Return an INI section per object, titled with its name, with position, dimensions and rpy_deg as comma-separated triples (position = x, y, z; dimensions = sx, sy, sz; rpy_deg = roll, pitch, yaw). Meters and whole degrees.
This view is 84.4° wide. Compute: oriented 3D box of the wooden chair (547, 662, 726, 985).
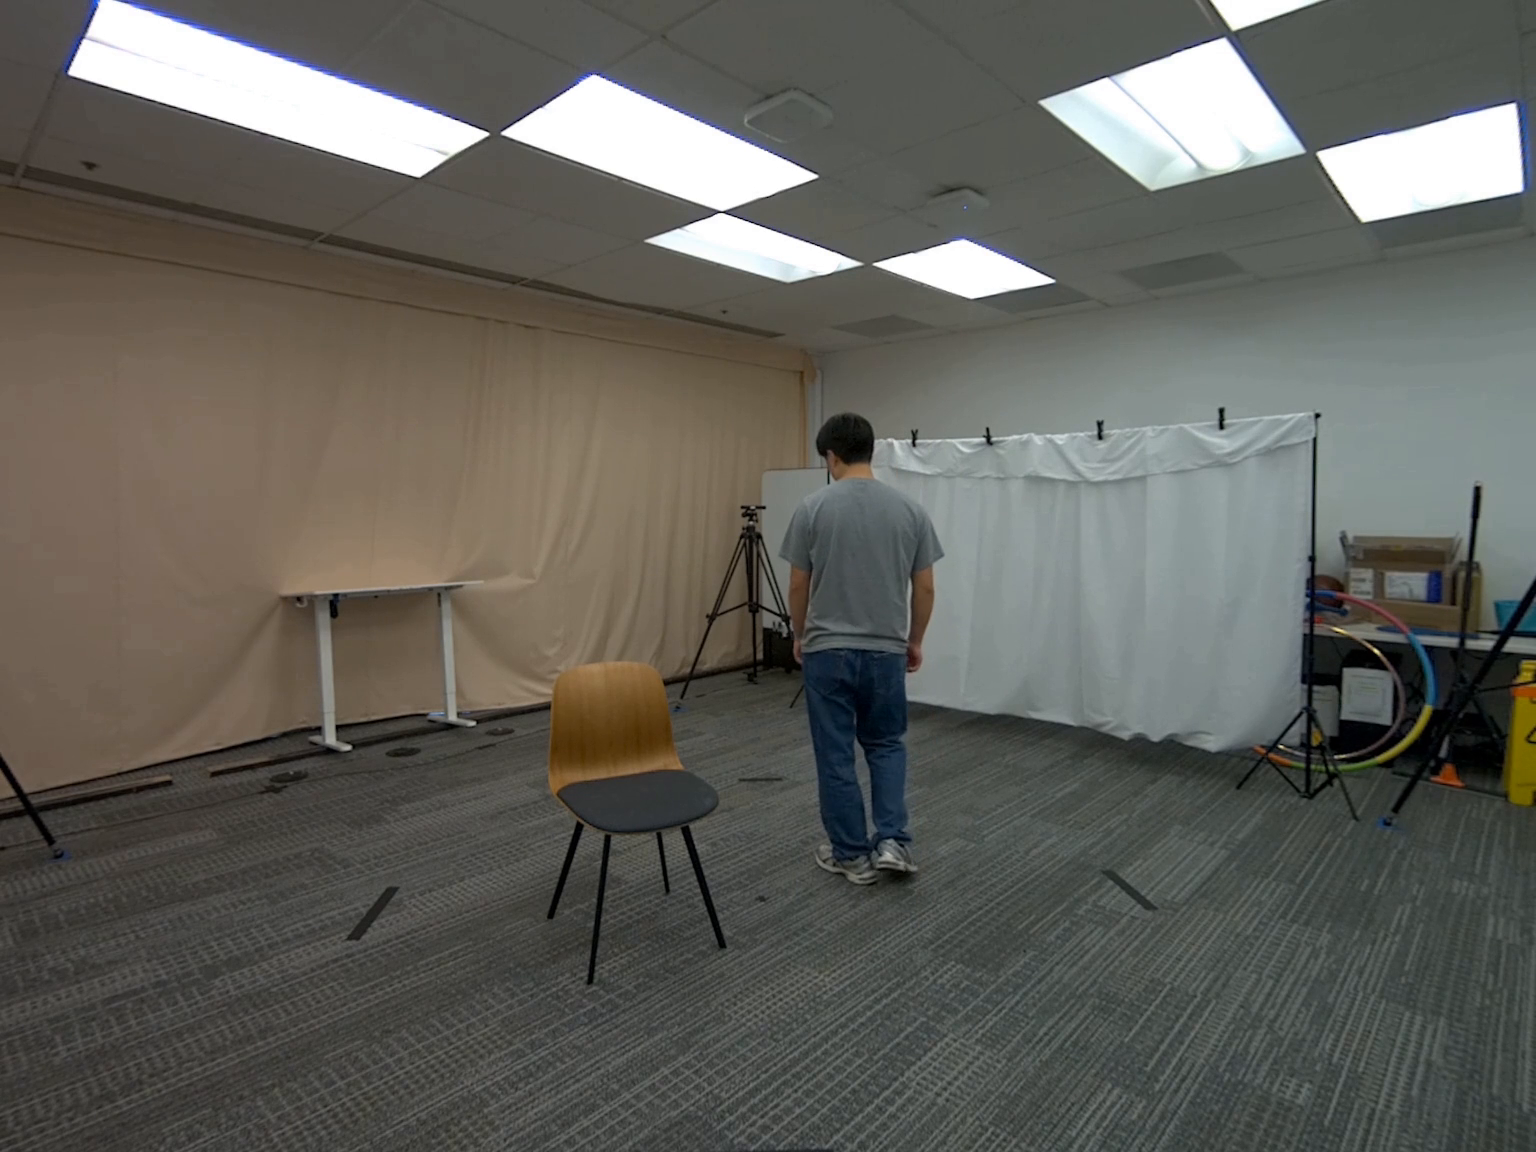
[wooden chair]
position = -0.435, 0.742, 2.714
dimensions = 0.466, 0.878, 0.536
rpy_deg = -2, -1, -28
